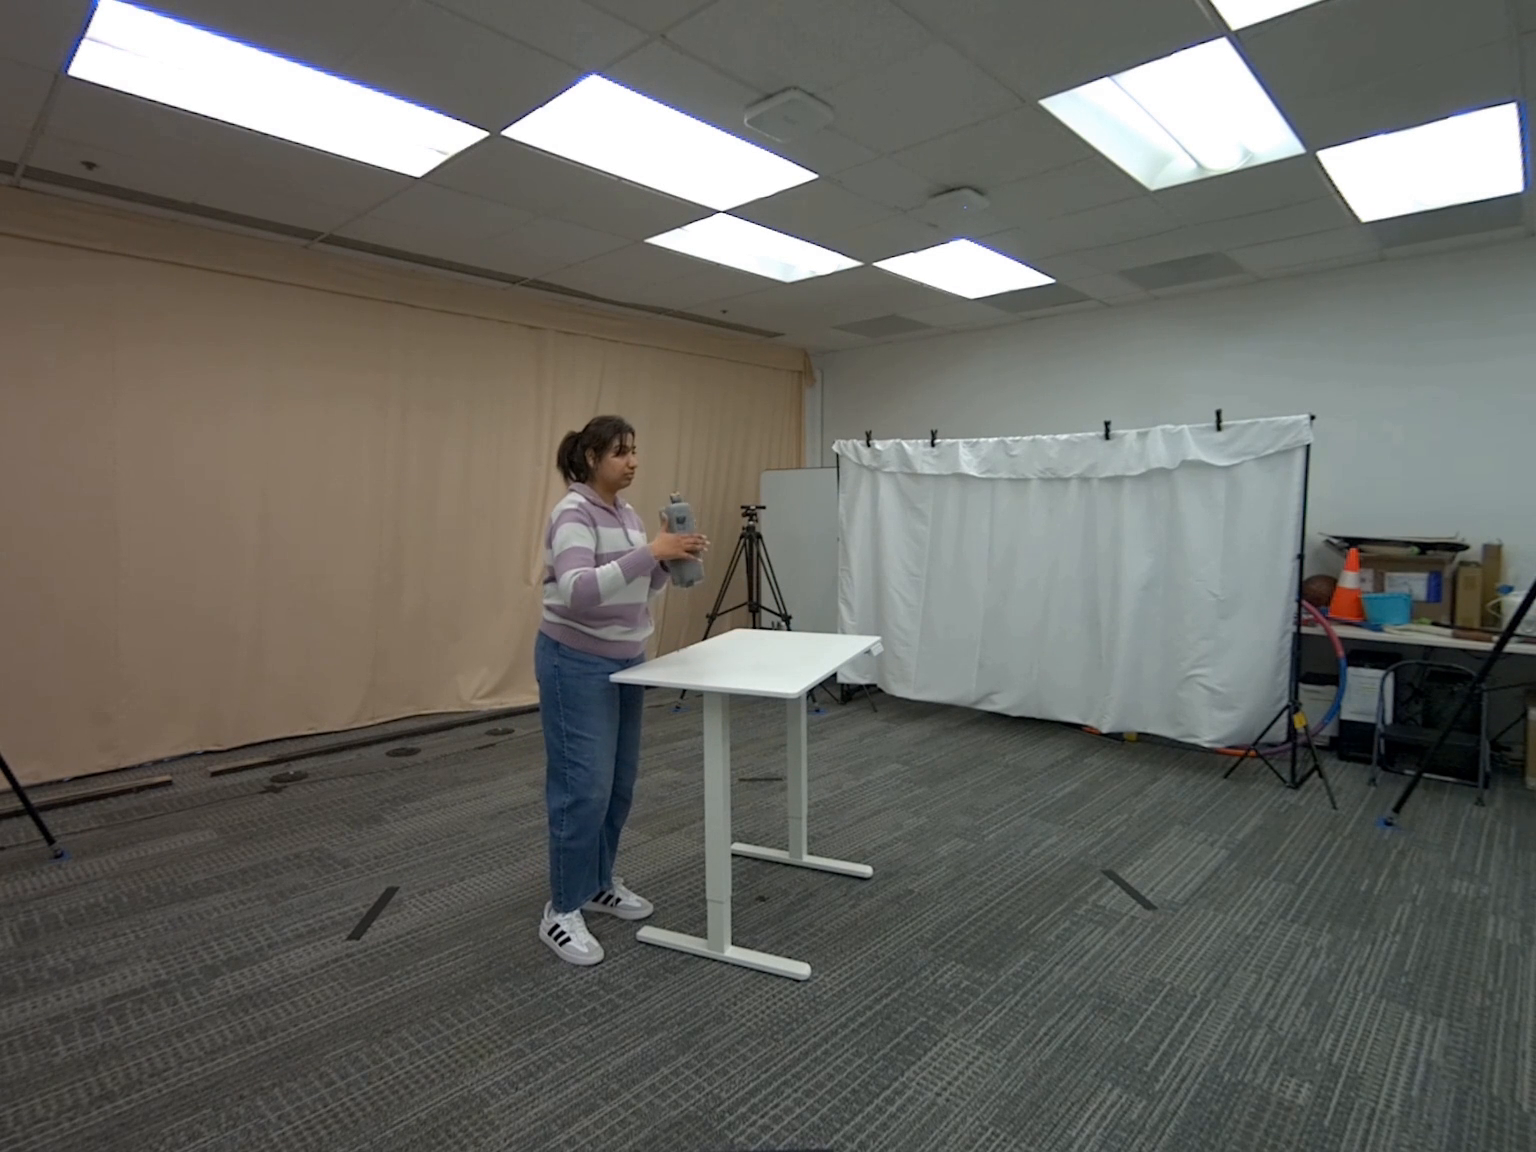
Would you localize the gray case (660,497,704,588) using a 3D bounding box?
[{"bbox_3d":[-0.269,-0.090,2.639,0.104,0.261,0.258,-8,-1,-6],"label":"gray case"}]
